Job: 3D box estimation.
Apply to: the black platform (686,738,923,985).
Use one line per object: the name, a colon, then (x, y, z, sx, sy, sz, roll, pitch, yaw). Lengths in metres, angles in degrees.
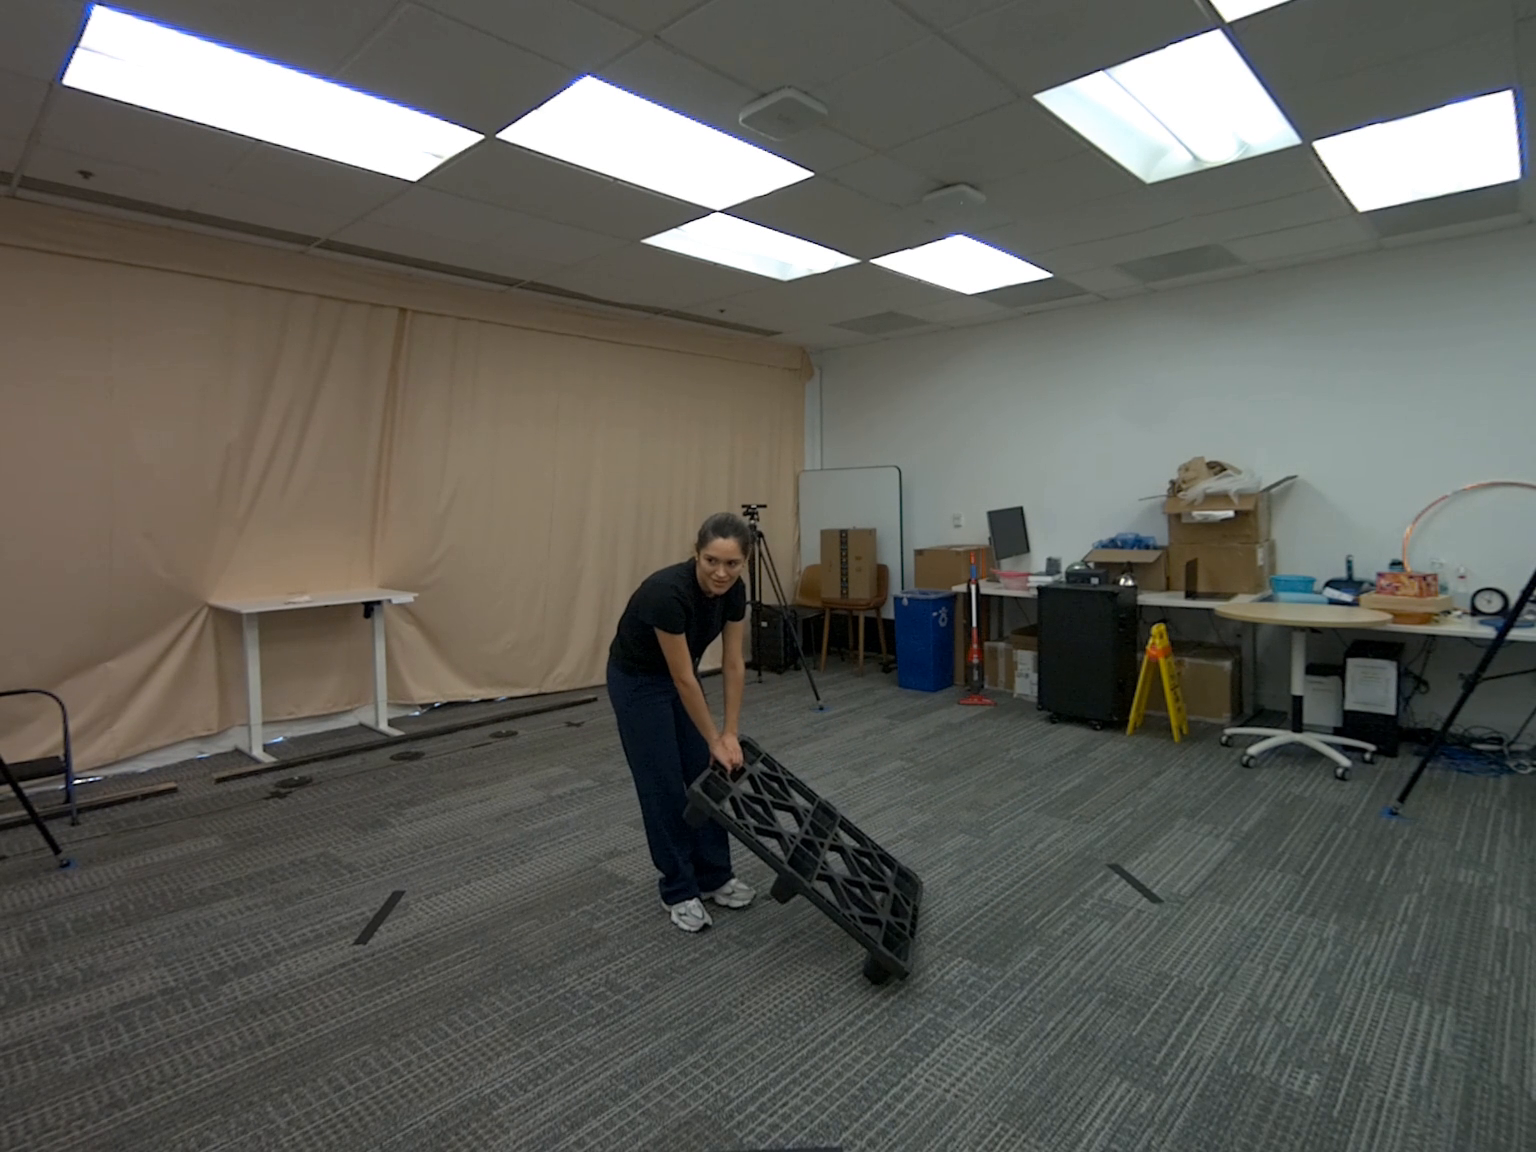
black platform: (0.136, 0.885, 2.716, 0.816, 0.143, 0.597, 37, 12, 10)
